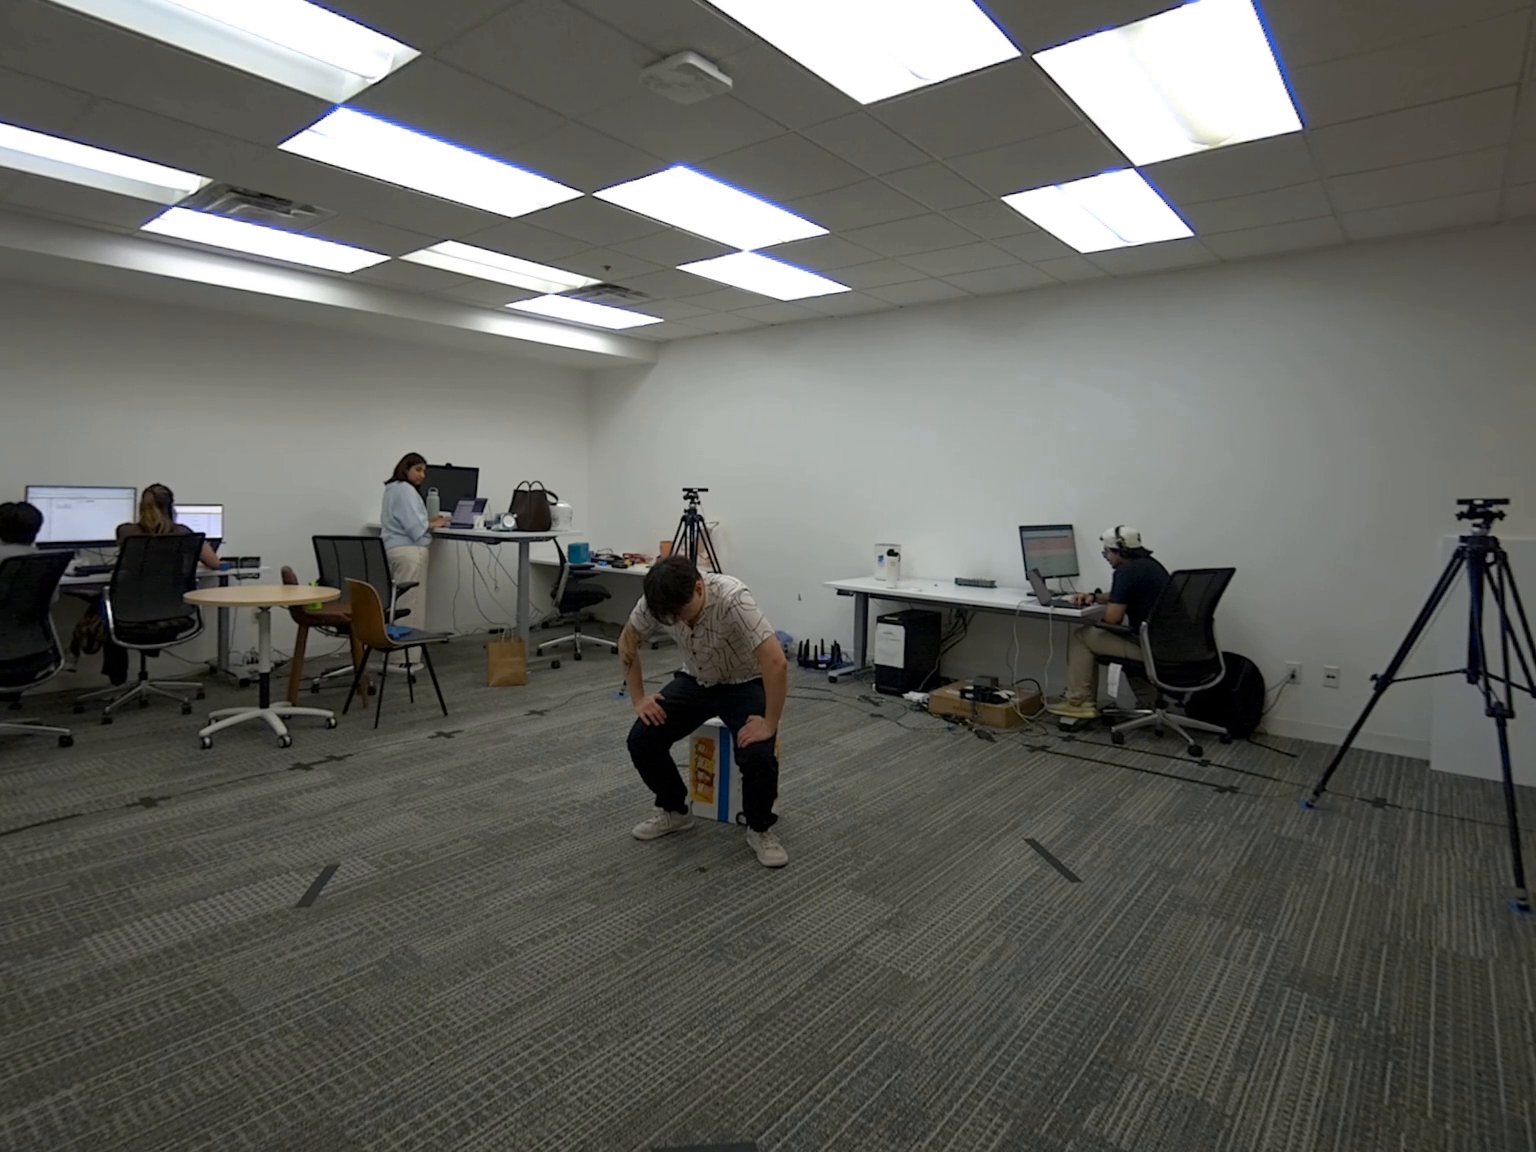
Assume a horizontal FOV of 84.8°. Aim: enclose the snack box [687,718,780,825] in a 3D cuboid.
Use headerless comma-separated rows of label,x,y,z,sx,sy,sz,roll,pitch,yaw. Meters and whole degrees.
snack box,-0.152,0.816,3.636,0.349,0.404,0.201,3,3,23
